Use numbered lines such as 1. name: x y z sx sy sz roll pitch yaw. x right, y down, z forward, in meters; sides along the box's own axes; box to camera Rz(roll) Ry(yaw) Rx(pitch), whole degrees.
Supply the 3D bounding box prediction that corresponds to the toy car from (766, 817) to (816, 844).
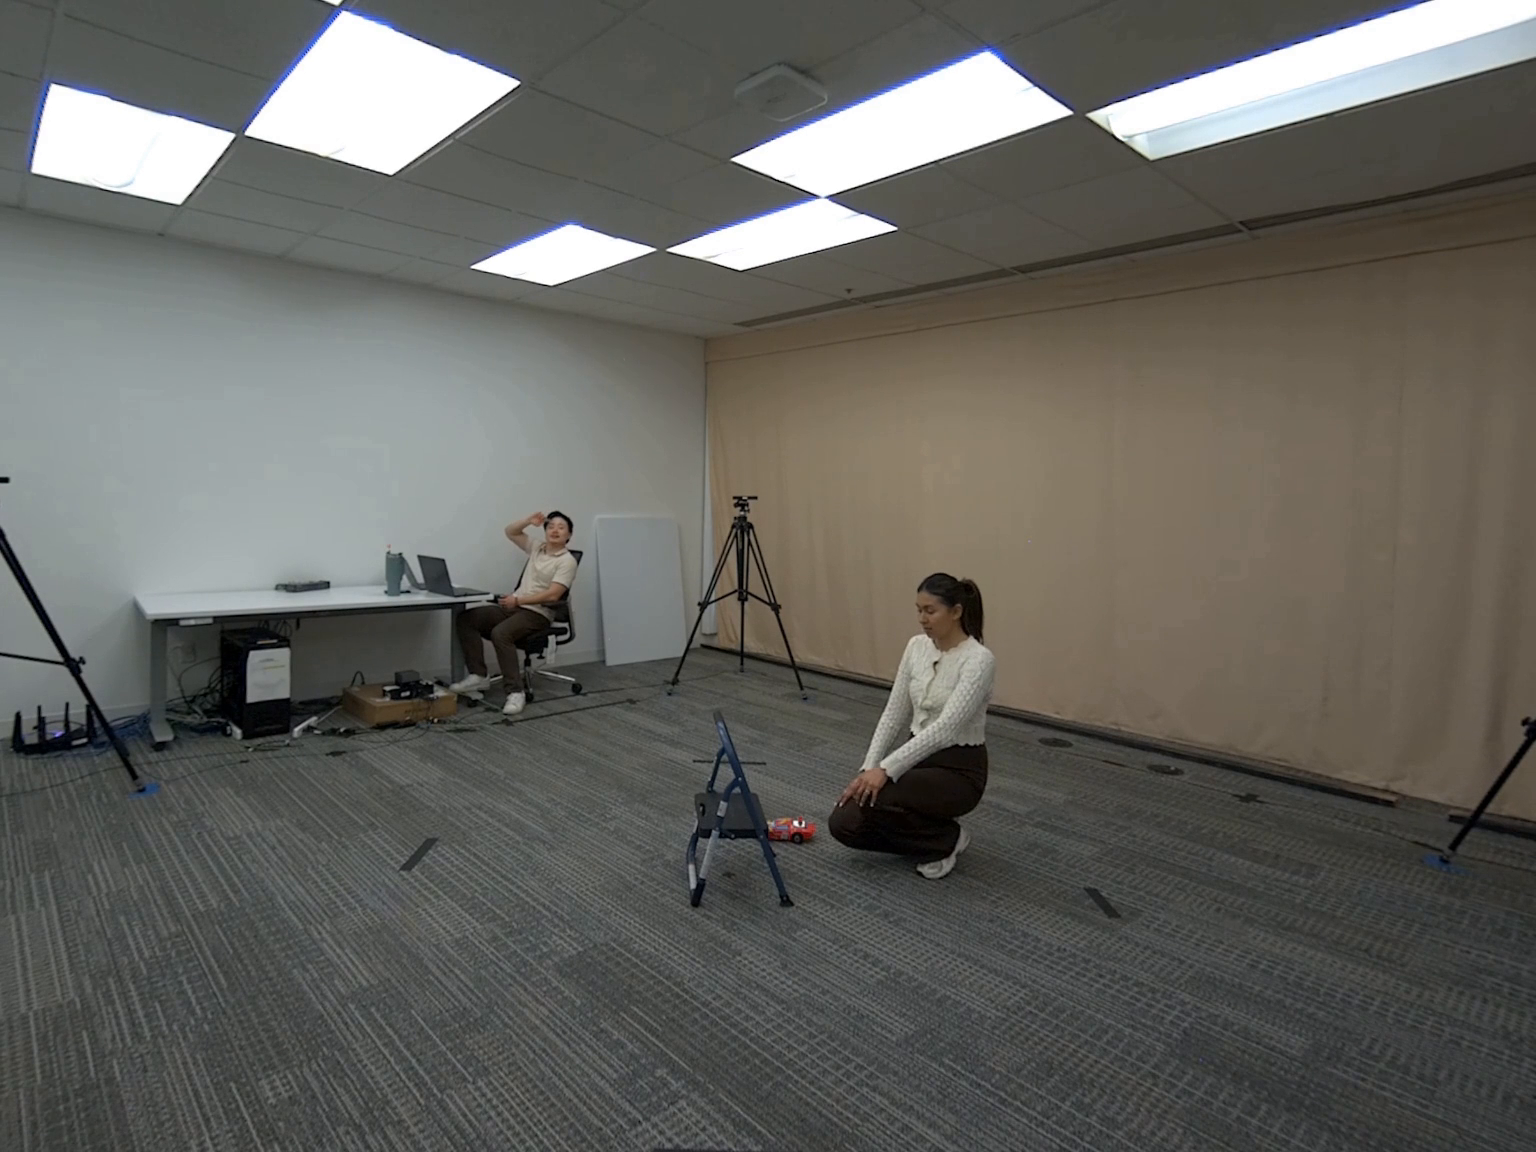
1. toy car: 0.067 1.043 3.463 0.255 0.083 0.130 -9 4 4
